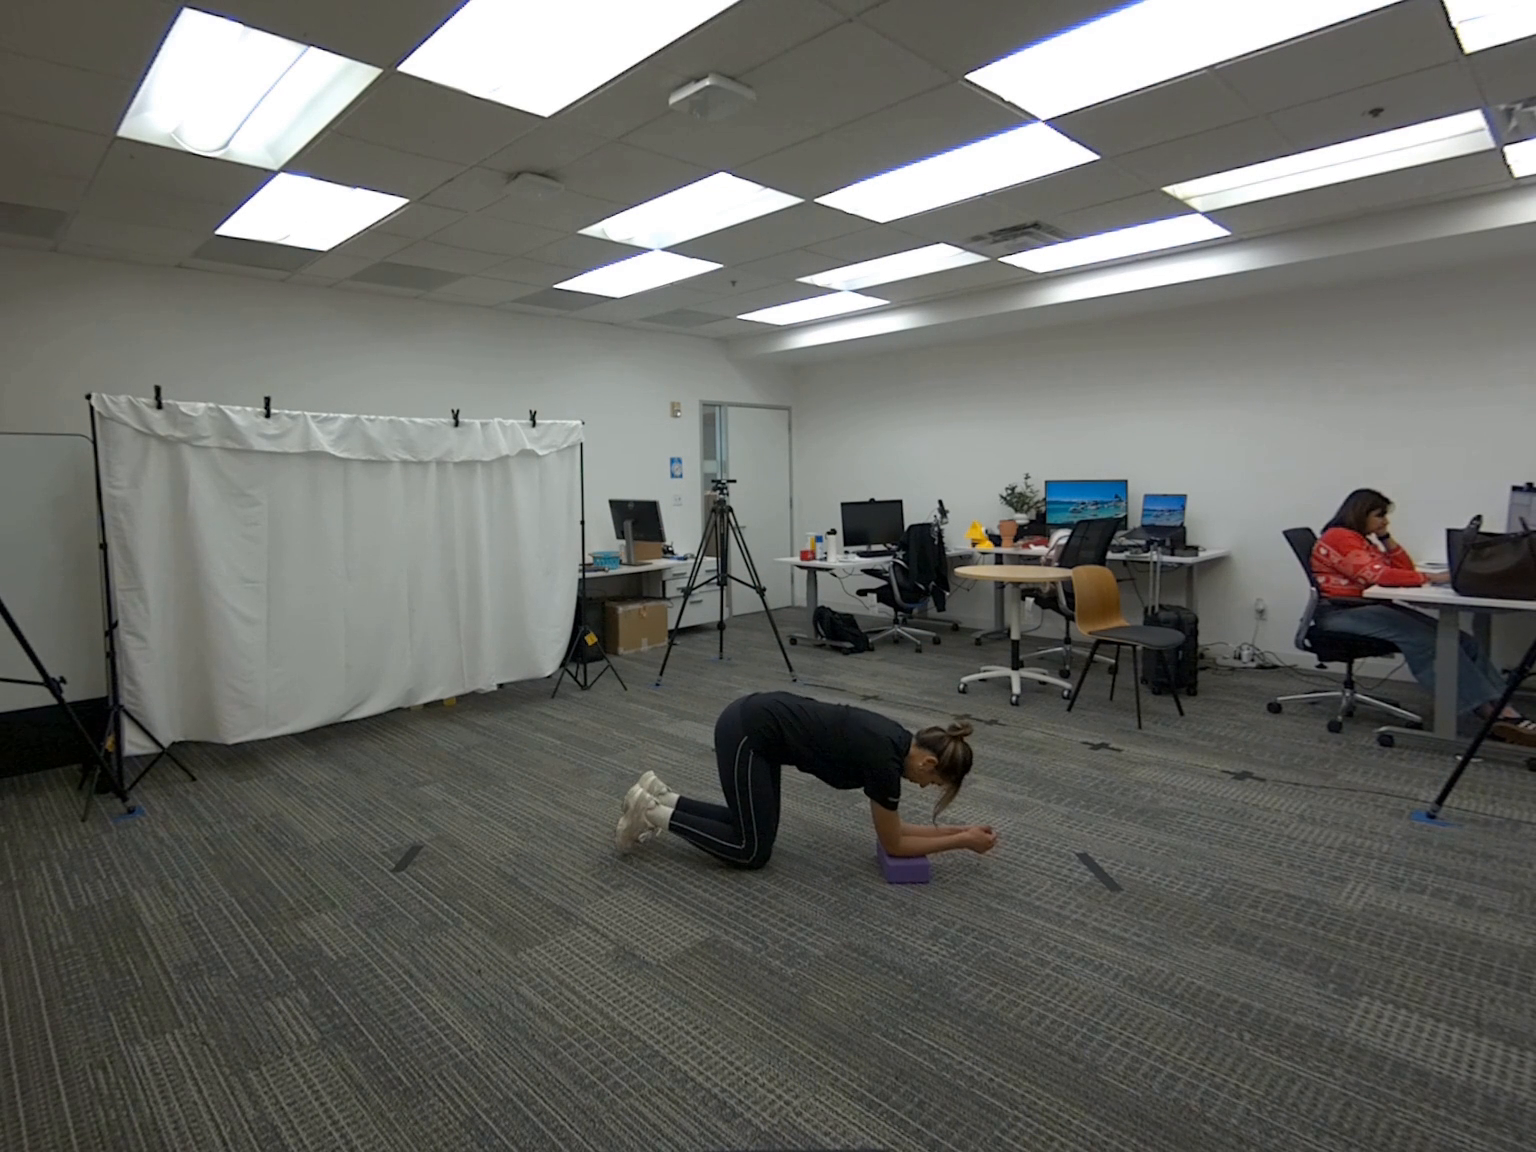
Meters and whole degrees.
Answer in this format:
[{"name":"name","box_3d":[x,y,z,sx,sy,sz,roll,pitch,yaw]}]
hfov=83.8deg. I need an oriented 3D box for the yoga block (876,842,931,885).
[{"name":"yoga block","box_3d":[0.475,0.998,3.038,0.149,0.076,0.230,2,8,1]}]
